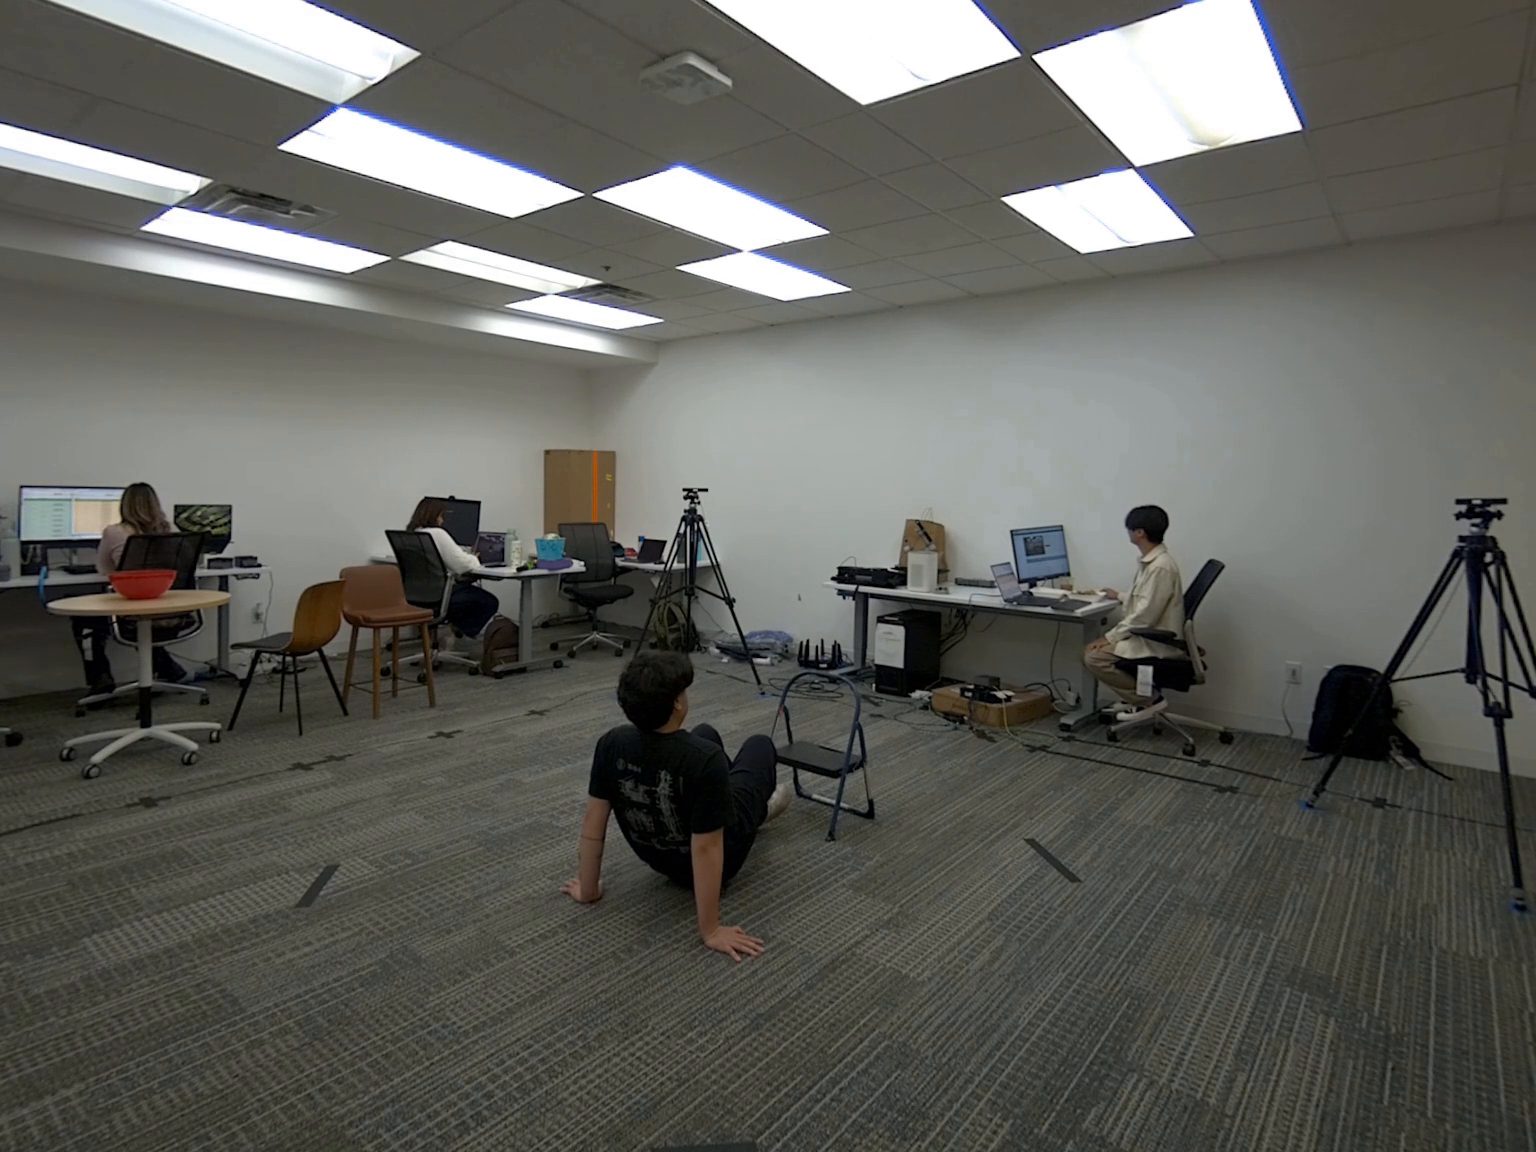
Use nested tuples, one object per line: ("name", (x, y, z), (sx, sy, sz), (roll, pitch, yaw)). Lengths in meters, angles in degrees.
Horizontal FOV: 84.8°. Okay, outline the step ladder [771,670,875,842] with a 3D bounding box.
("step ladder", (0.190, 0.723, 3.634), (0.445, 0.604, 0.339), (5, 5, 40))
